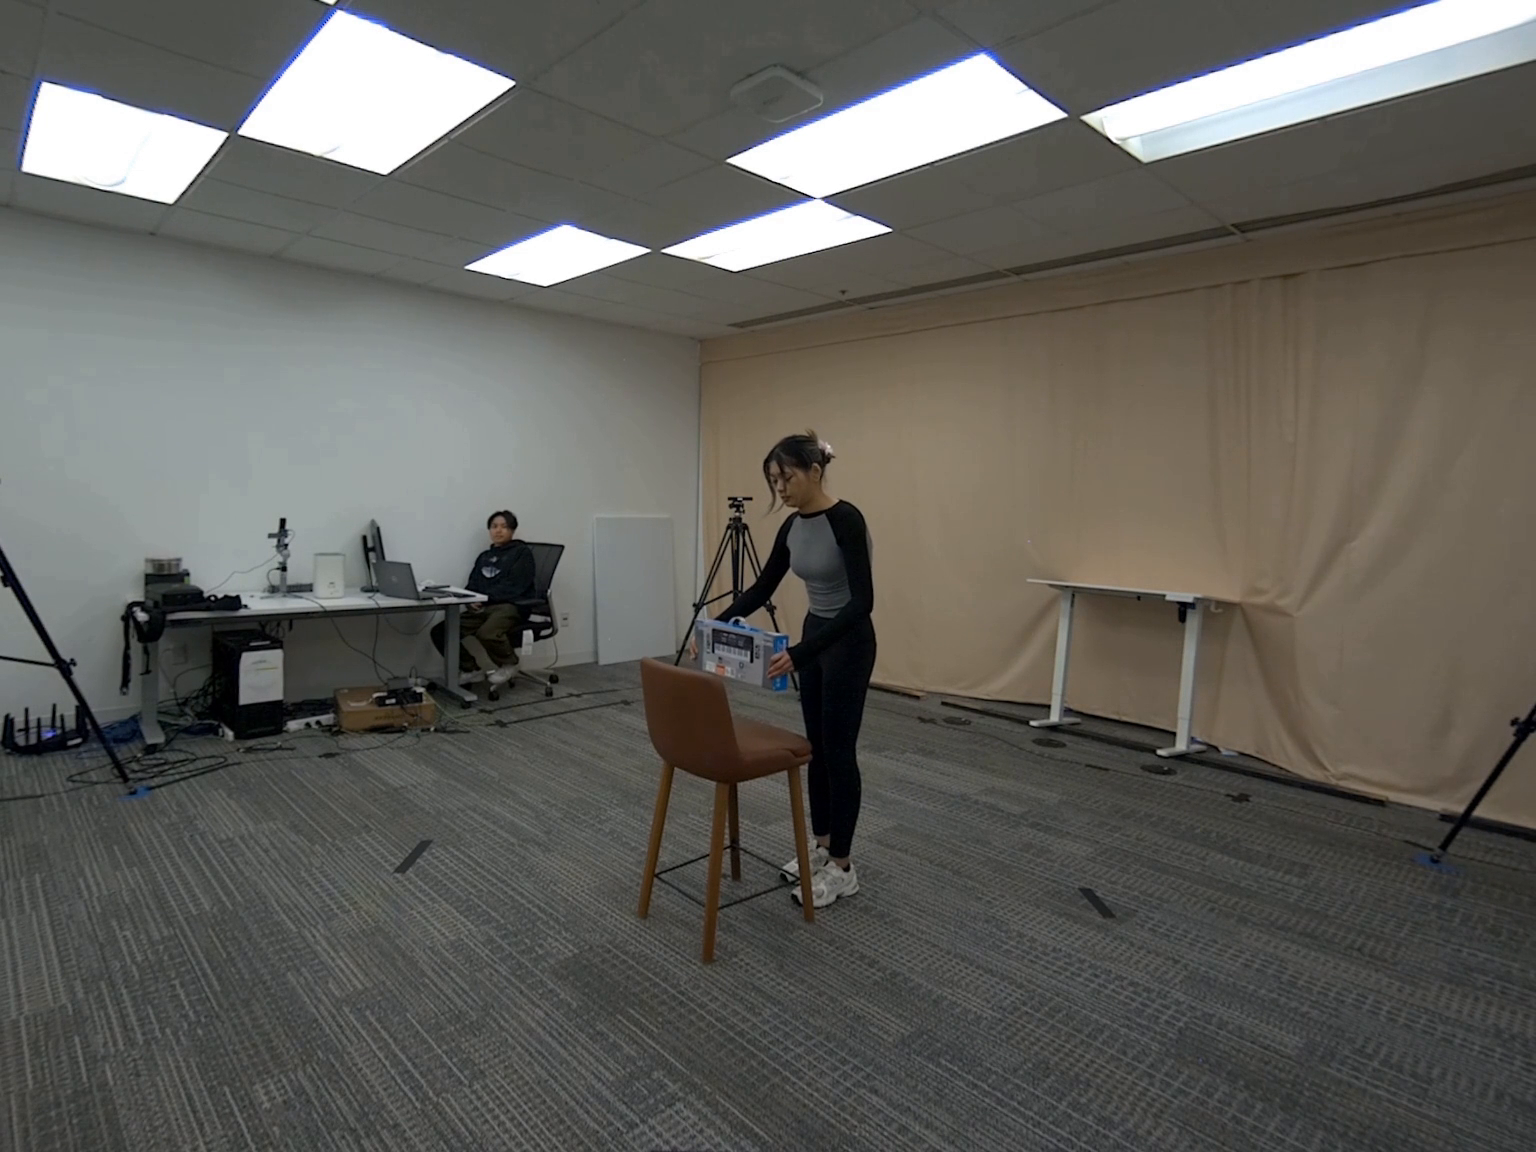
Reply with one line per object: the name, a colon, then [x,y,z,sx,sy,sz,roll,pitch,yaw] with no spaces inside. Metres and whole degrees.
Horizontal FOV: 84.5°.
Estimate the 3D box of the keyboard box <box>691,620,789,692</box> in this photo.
keyboard box: [-0.102,0.259,2.782,0.058,0.175,0.448,-1,5,-38]
